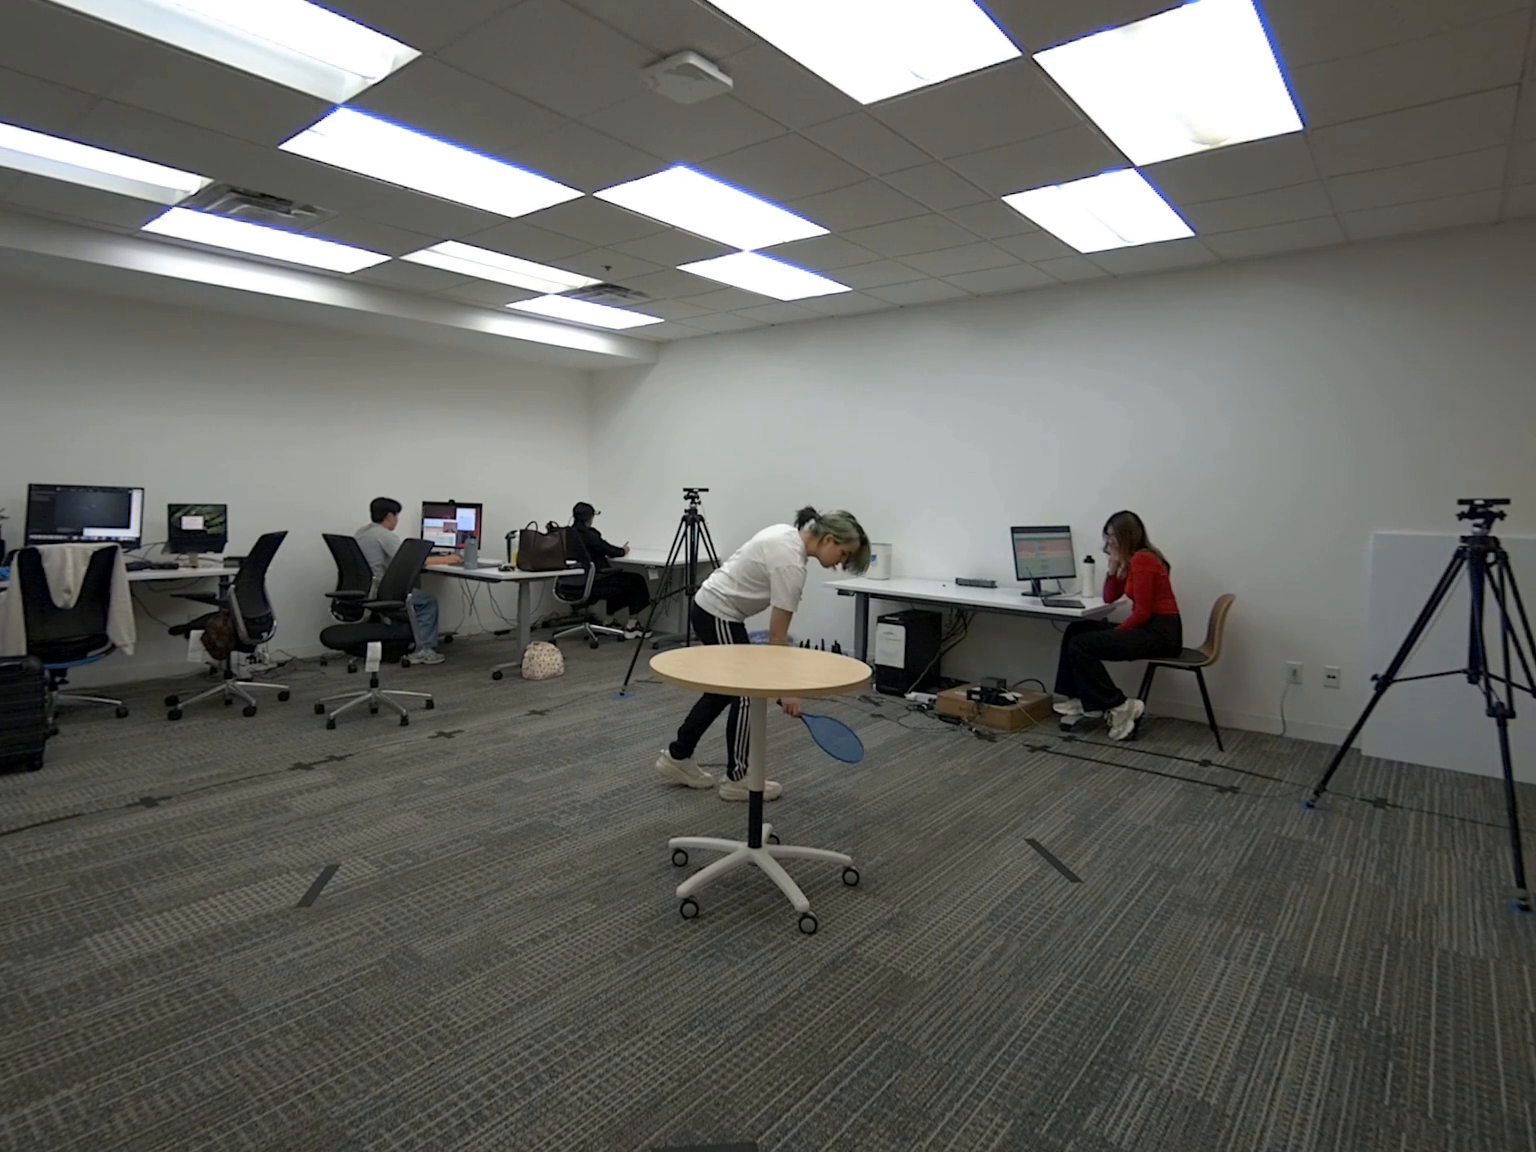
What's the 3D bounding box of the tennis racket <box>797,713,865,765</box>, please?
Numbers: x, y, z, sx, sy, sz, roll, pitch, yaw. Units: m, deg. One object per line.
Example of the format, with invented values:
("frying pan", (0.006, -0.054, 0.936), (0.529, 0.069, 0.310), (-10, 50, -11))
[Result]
("tennis racket", (0.218, 0.641, 3.639), (0.436, 0.031, 0.214), (33, 34, 5))
